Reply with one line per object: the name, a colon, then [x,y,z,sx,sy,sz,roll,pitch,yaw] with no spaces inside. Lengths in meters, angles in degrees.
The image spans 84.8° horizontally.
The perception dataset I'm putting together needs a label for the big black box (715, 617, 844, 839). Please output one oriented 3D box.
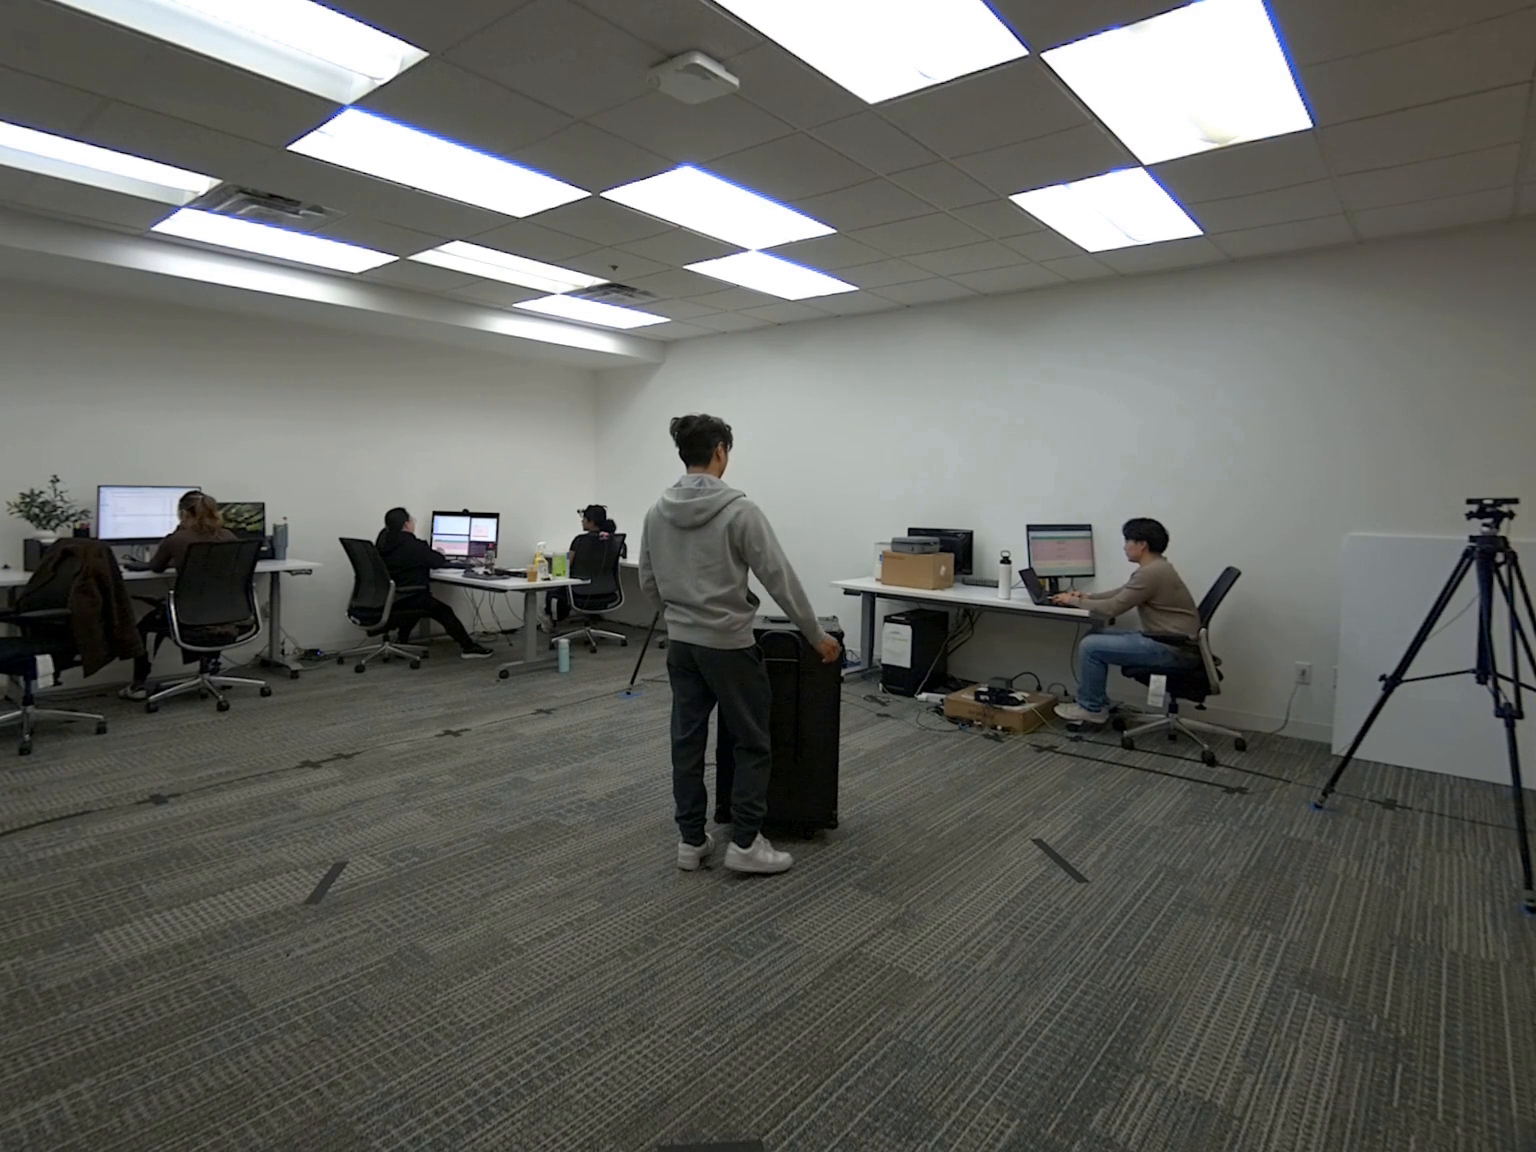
big black box: [0.037,0.609,3.485,0.524,0.857,0.396,1,5,3]
